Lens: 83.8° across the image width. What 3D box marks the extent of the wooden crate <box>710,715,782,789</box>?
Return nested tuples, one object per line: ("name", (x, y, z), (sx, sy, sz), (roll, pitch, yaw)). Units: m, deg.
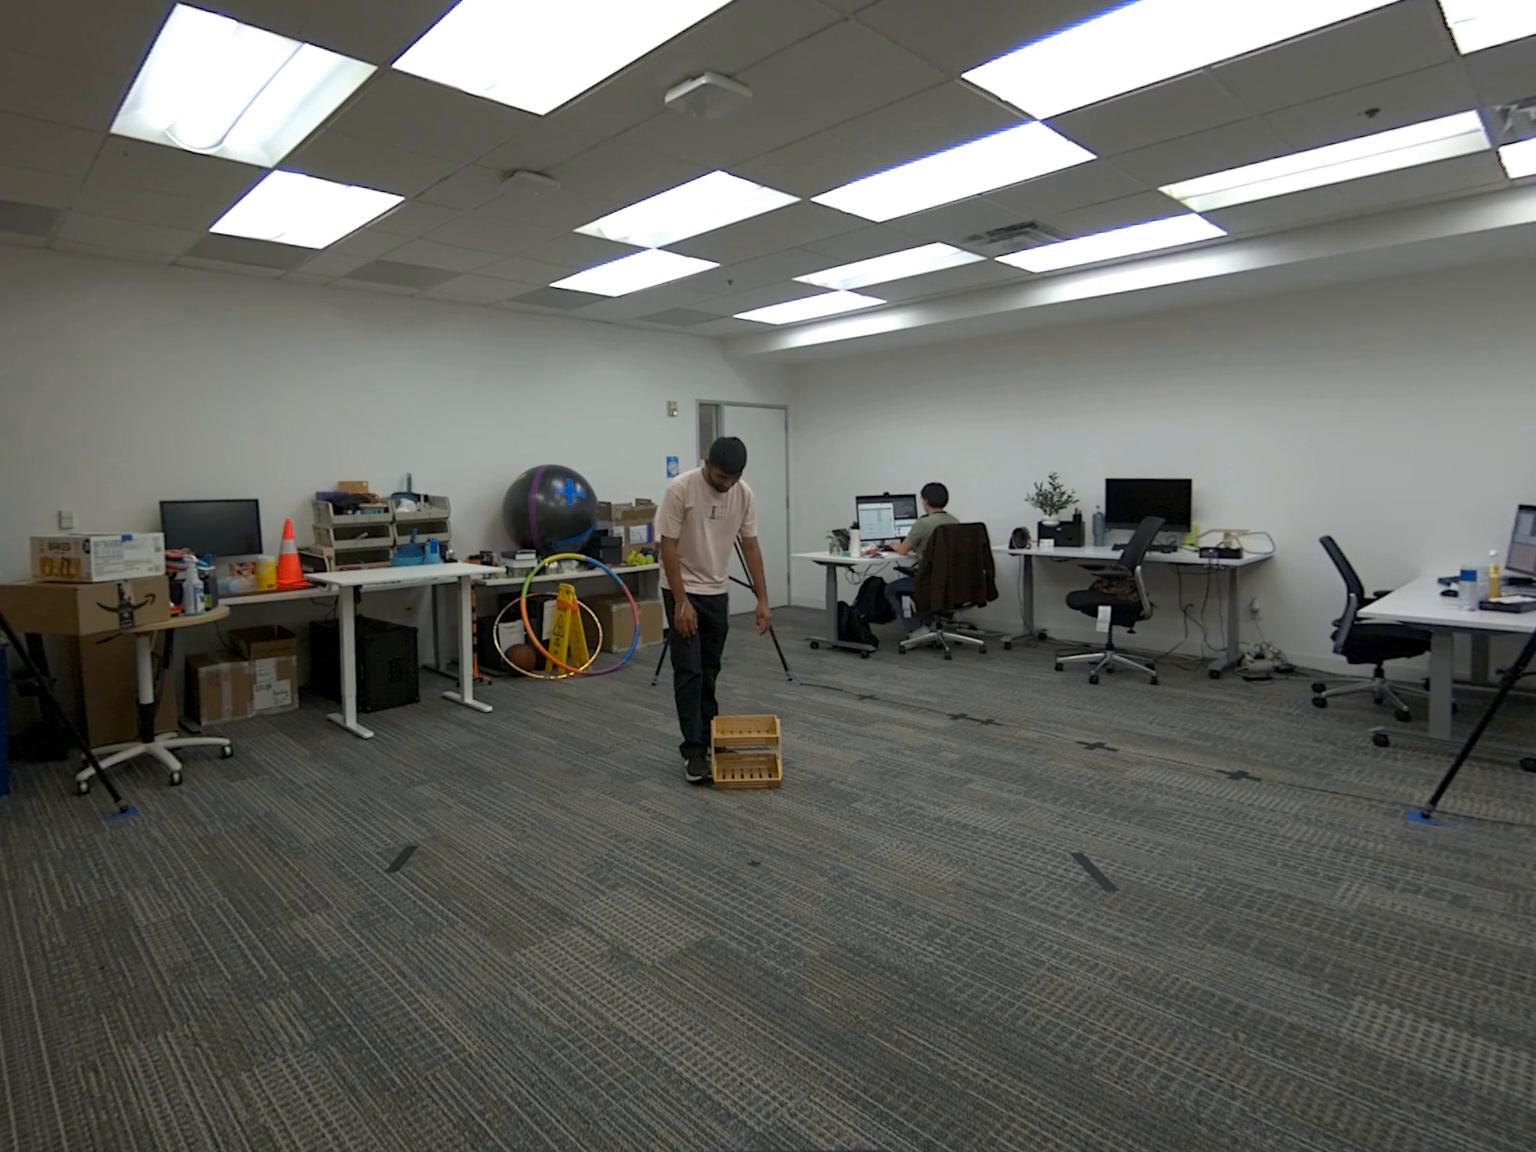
("wooden crate", (-0.100, 0.816, 3.978), (0.324, 0.272, 0.303), (-2, 4, -2))
